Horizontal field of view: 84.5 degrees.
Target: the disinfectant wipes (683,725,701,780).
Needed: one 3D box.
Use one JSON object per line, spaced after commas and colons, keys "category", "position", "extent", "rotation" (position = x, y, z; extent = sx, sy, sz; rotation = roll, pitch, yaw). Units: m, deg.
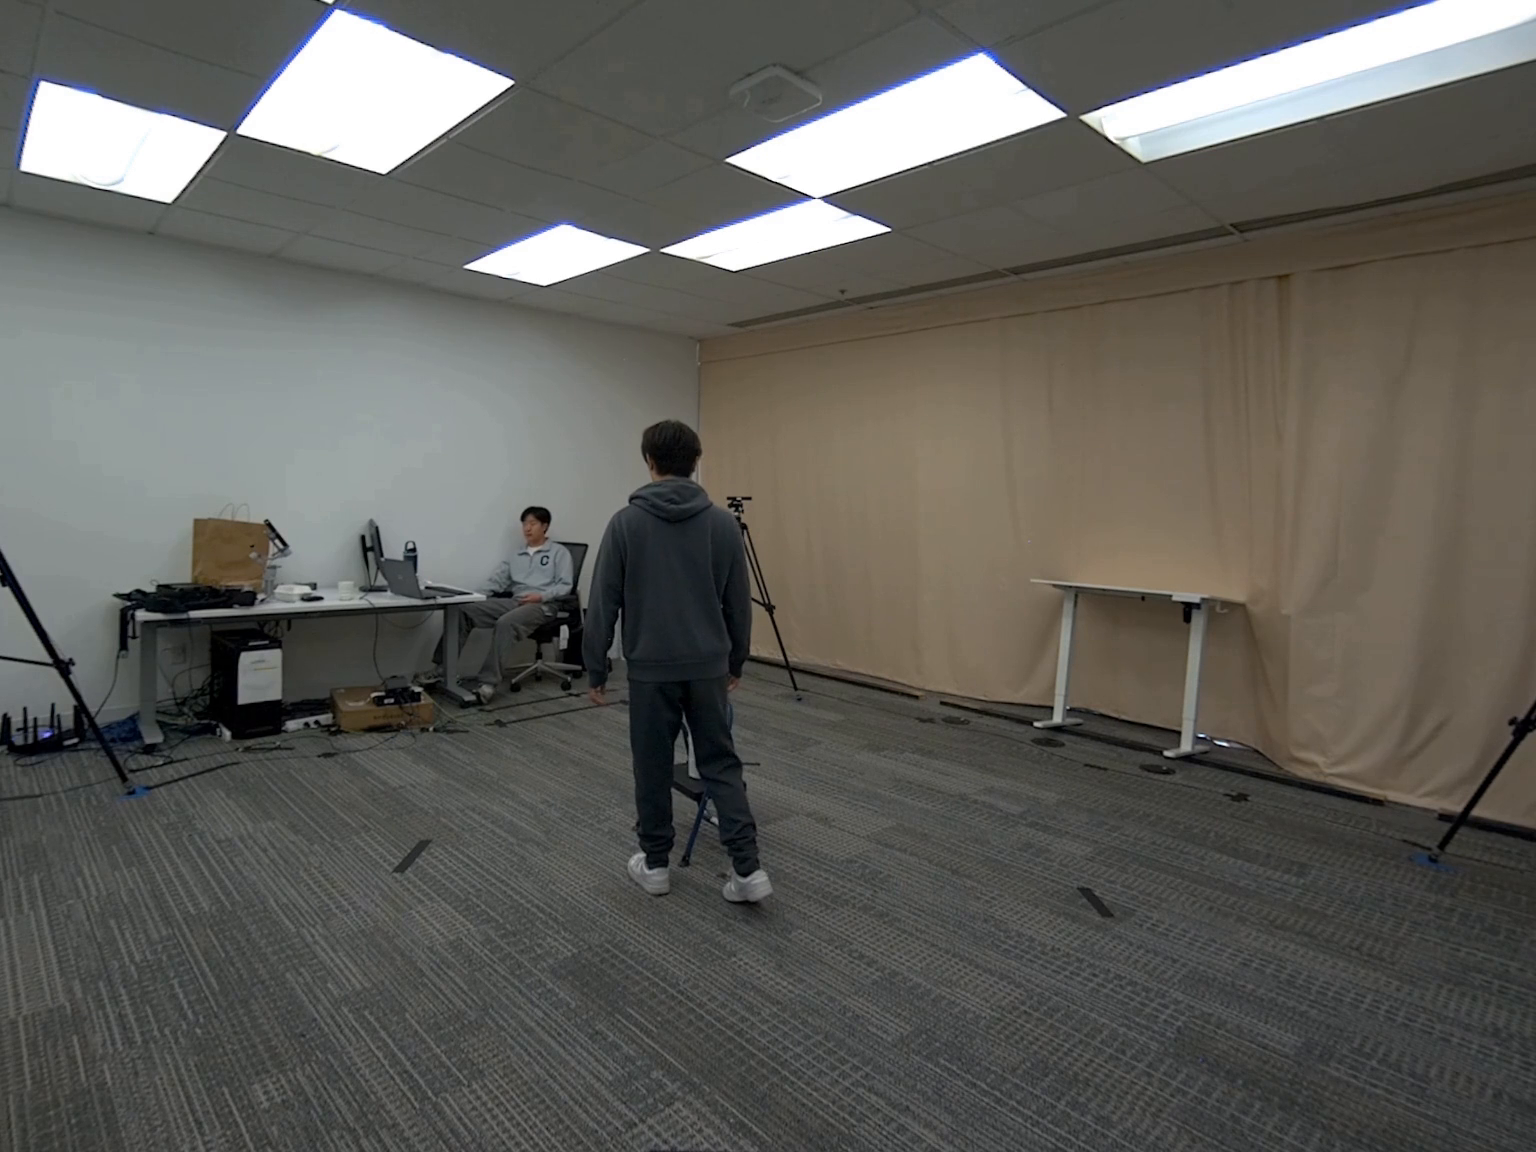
{"category": "disinfectant wipes", "position": [-0.272, 0.711, 3.428], "extent": [0.118, 0.217, 0.118], "rotation": [2, 3, -1]}
